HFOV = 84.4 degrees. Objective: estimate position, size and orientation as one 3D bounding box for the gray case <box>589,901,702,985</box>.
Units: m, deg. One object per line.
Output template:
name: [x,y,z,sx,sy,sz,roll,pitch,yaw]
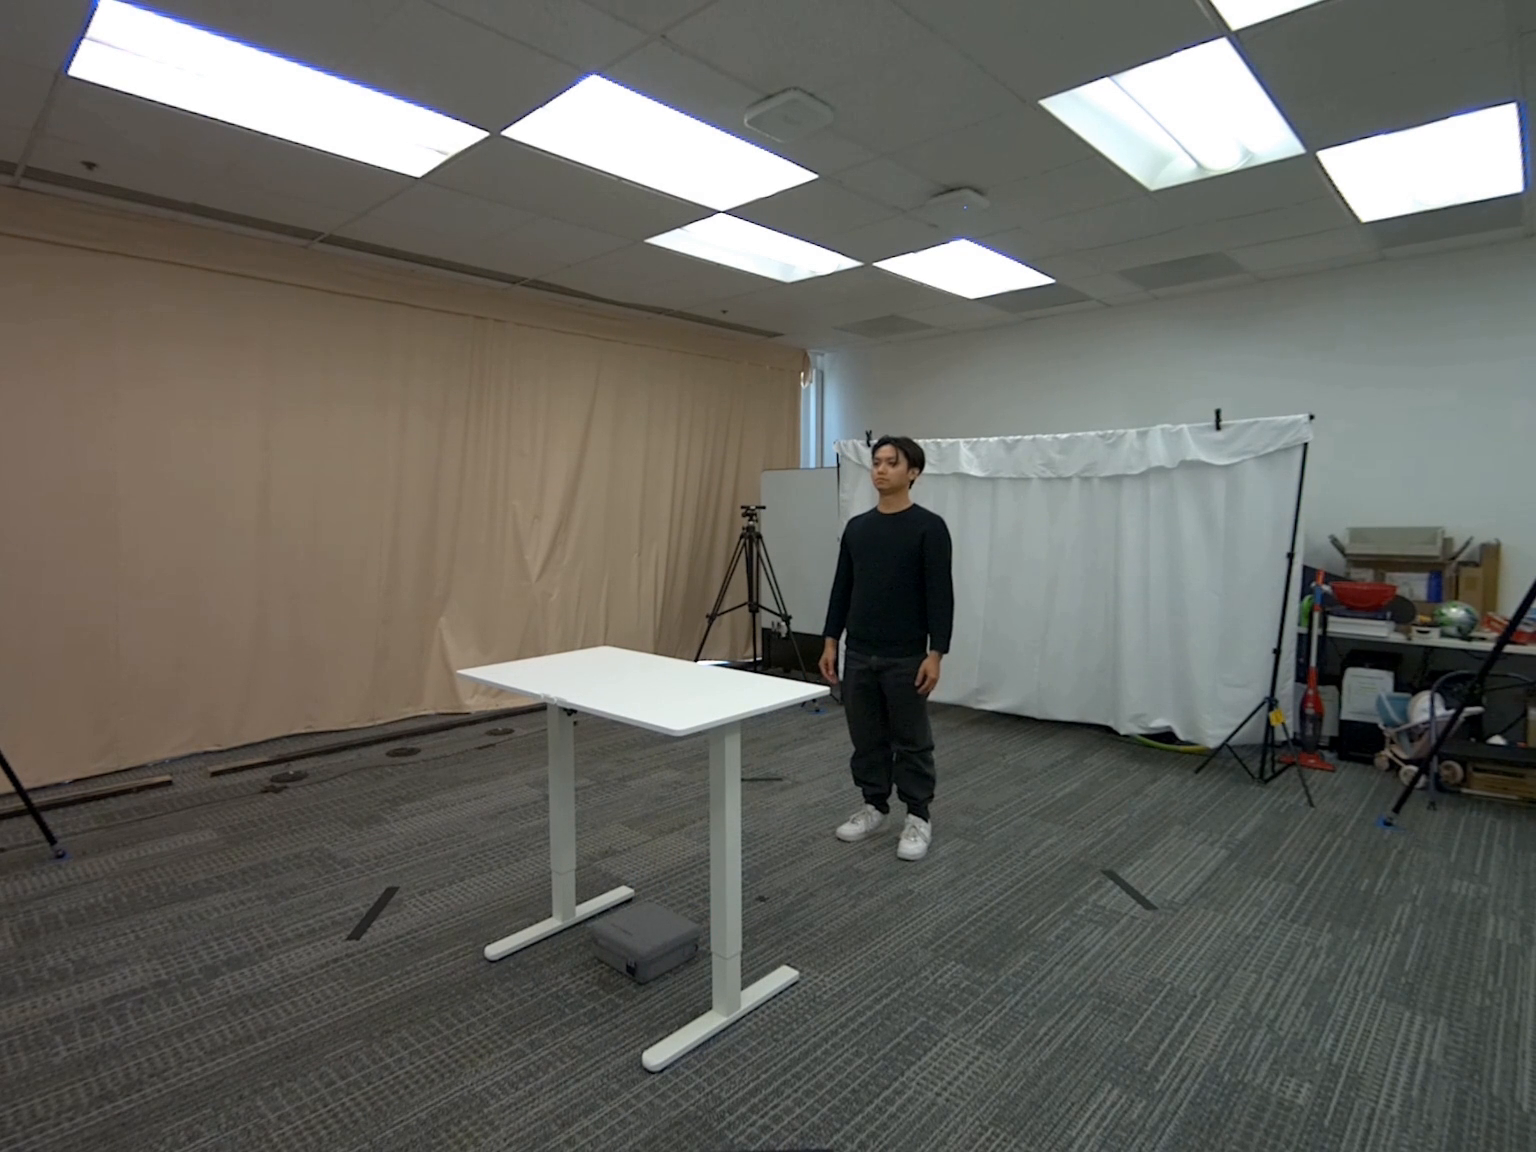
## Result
gray case: [-0.380,1.116,2.601,0.269,0.104,0.249,3,5,42]
